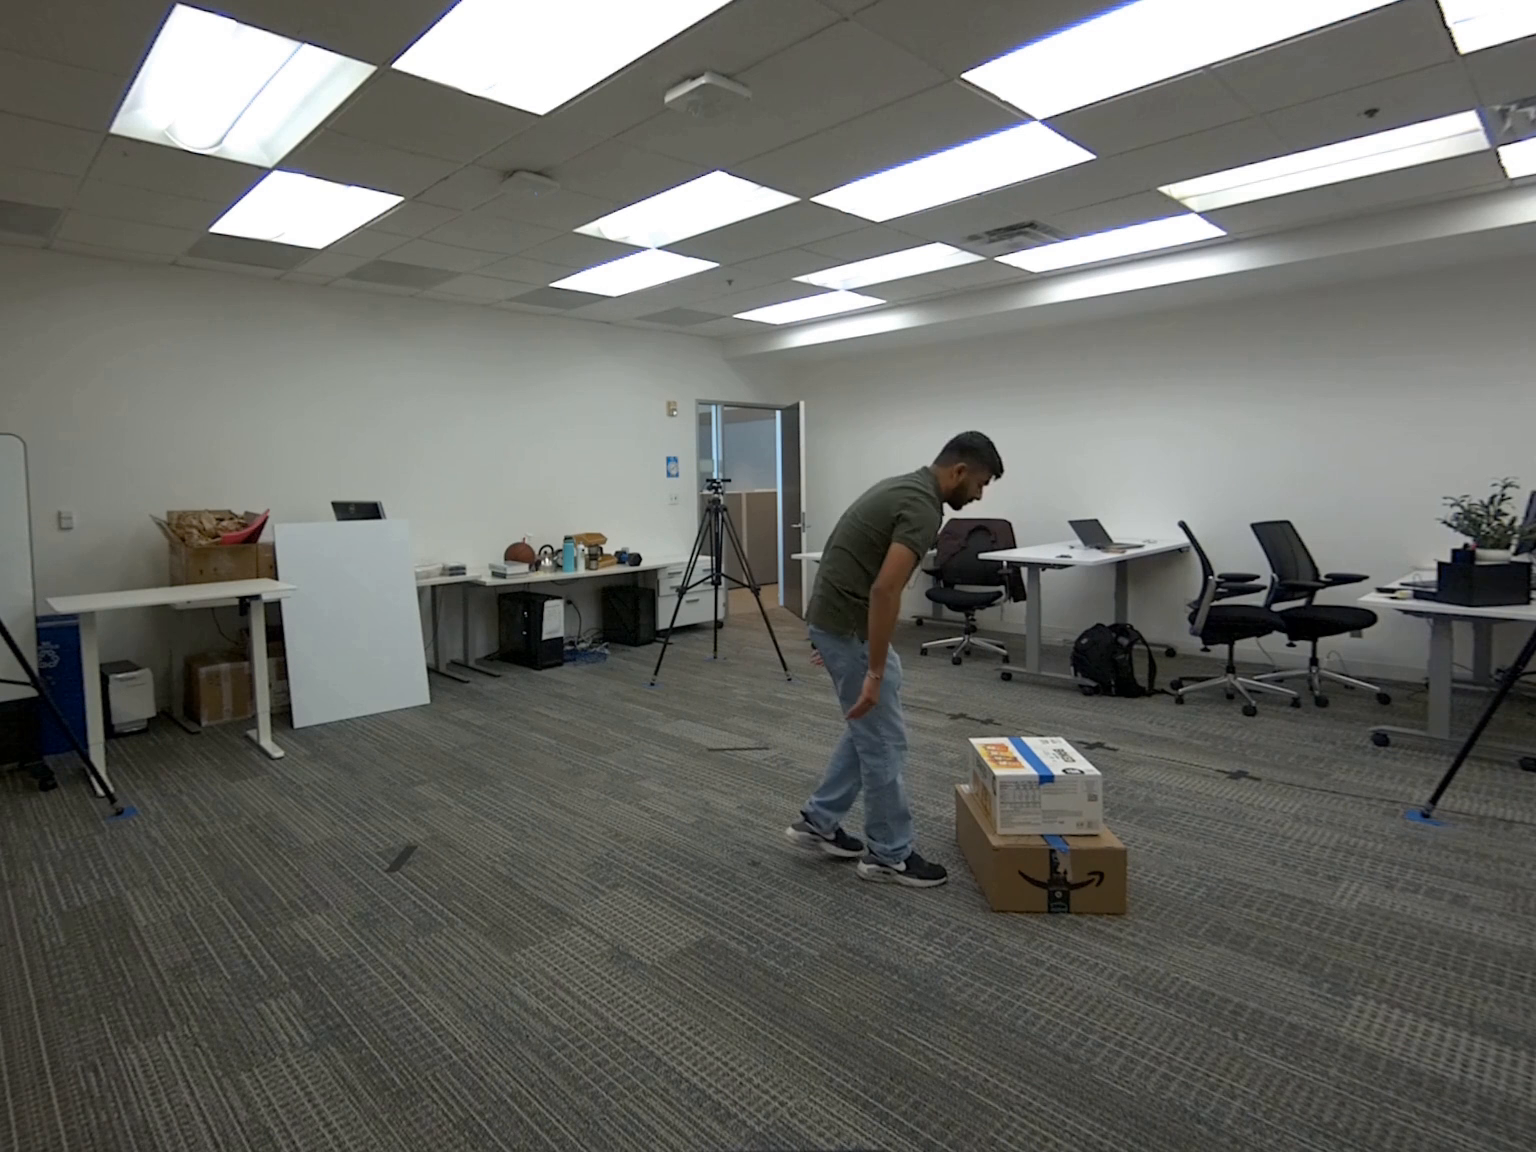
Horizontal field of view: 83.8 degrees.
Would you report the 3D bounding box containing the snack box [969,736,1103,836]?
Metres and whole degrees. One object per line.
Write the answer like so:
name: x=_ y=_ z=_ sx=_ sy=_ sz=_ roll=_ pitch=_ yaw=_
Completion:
snack box: x=0.918 y=0.722 z=2.982 sx=0.341 sy=0.205 sz=0.406 roll=-2 pitch=6 yaw=2
